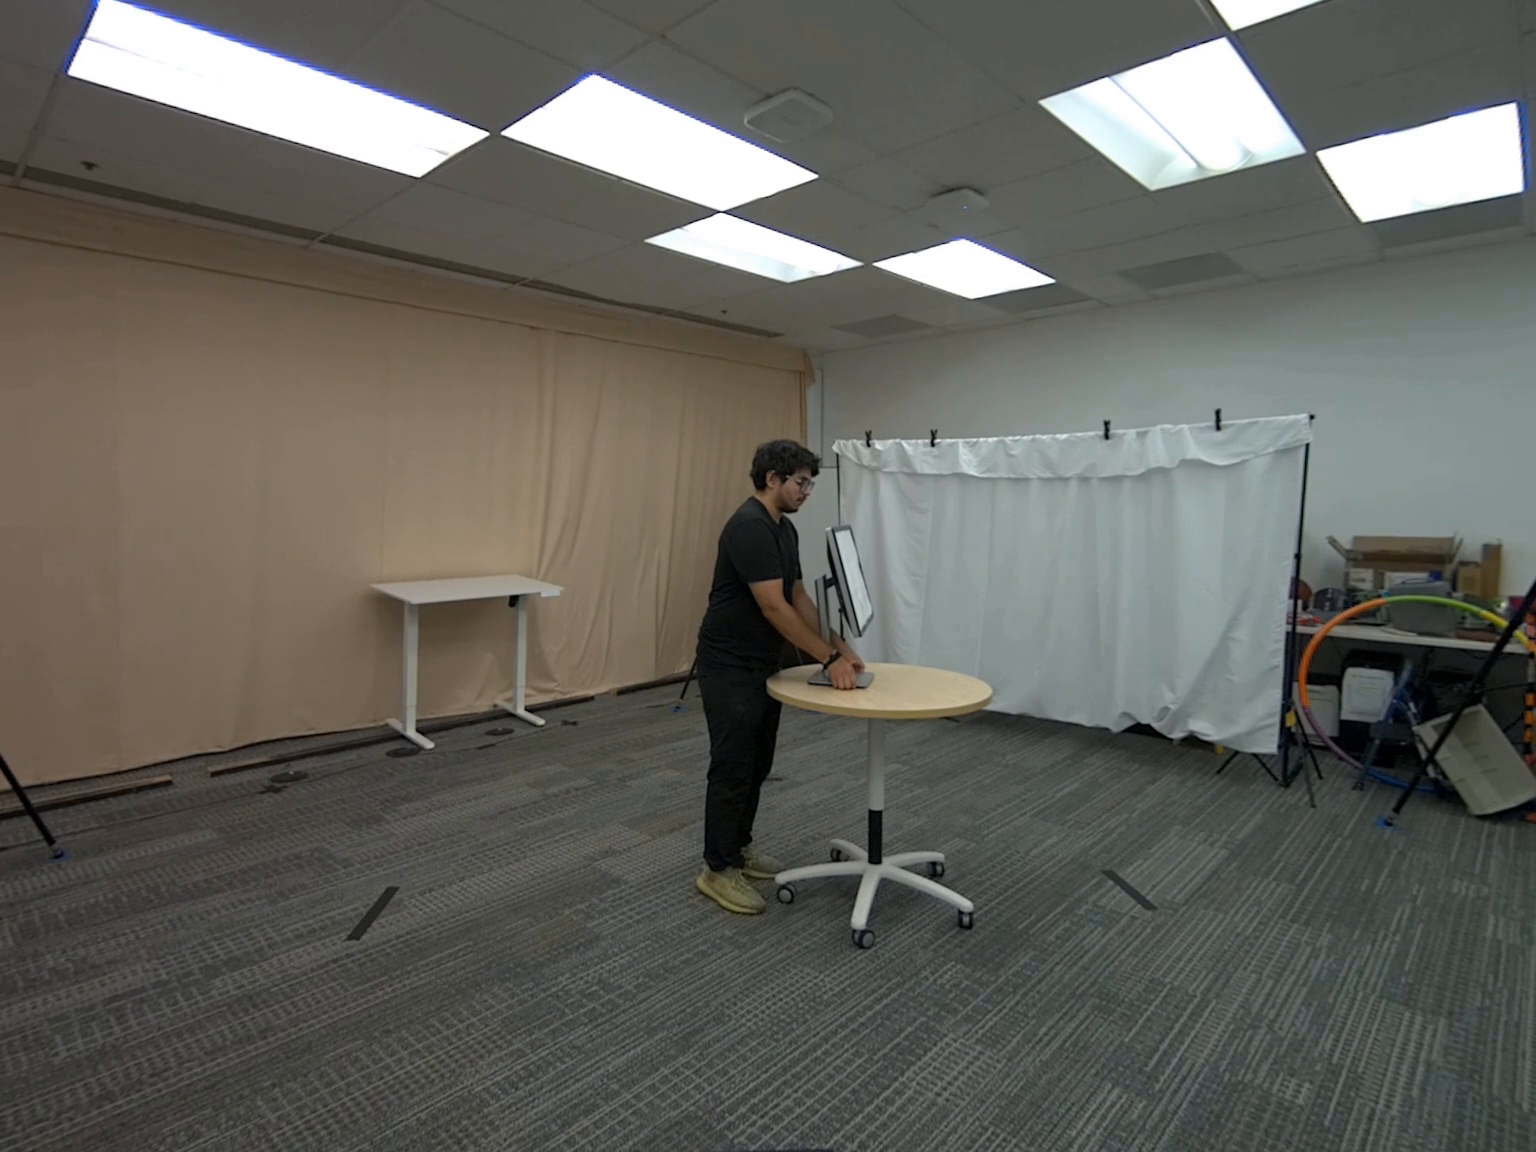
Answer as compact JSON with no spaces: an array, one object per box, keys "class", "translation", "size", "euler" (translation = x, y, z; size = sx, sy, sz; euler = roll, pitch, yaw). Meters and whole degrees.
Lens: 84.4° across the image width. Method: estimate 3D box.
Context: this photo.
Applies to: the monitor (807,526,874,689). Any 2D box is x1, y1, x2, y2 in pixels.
[{"class":"monitor","translation":[0.239,0.101,2.962],"size":[0.213,0.553,0.558],"euler":[-6,2,13]}]
